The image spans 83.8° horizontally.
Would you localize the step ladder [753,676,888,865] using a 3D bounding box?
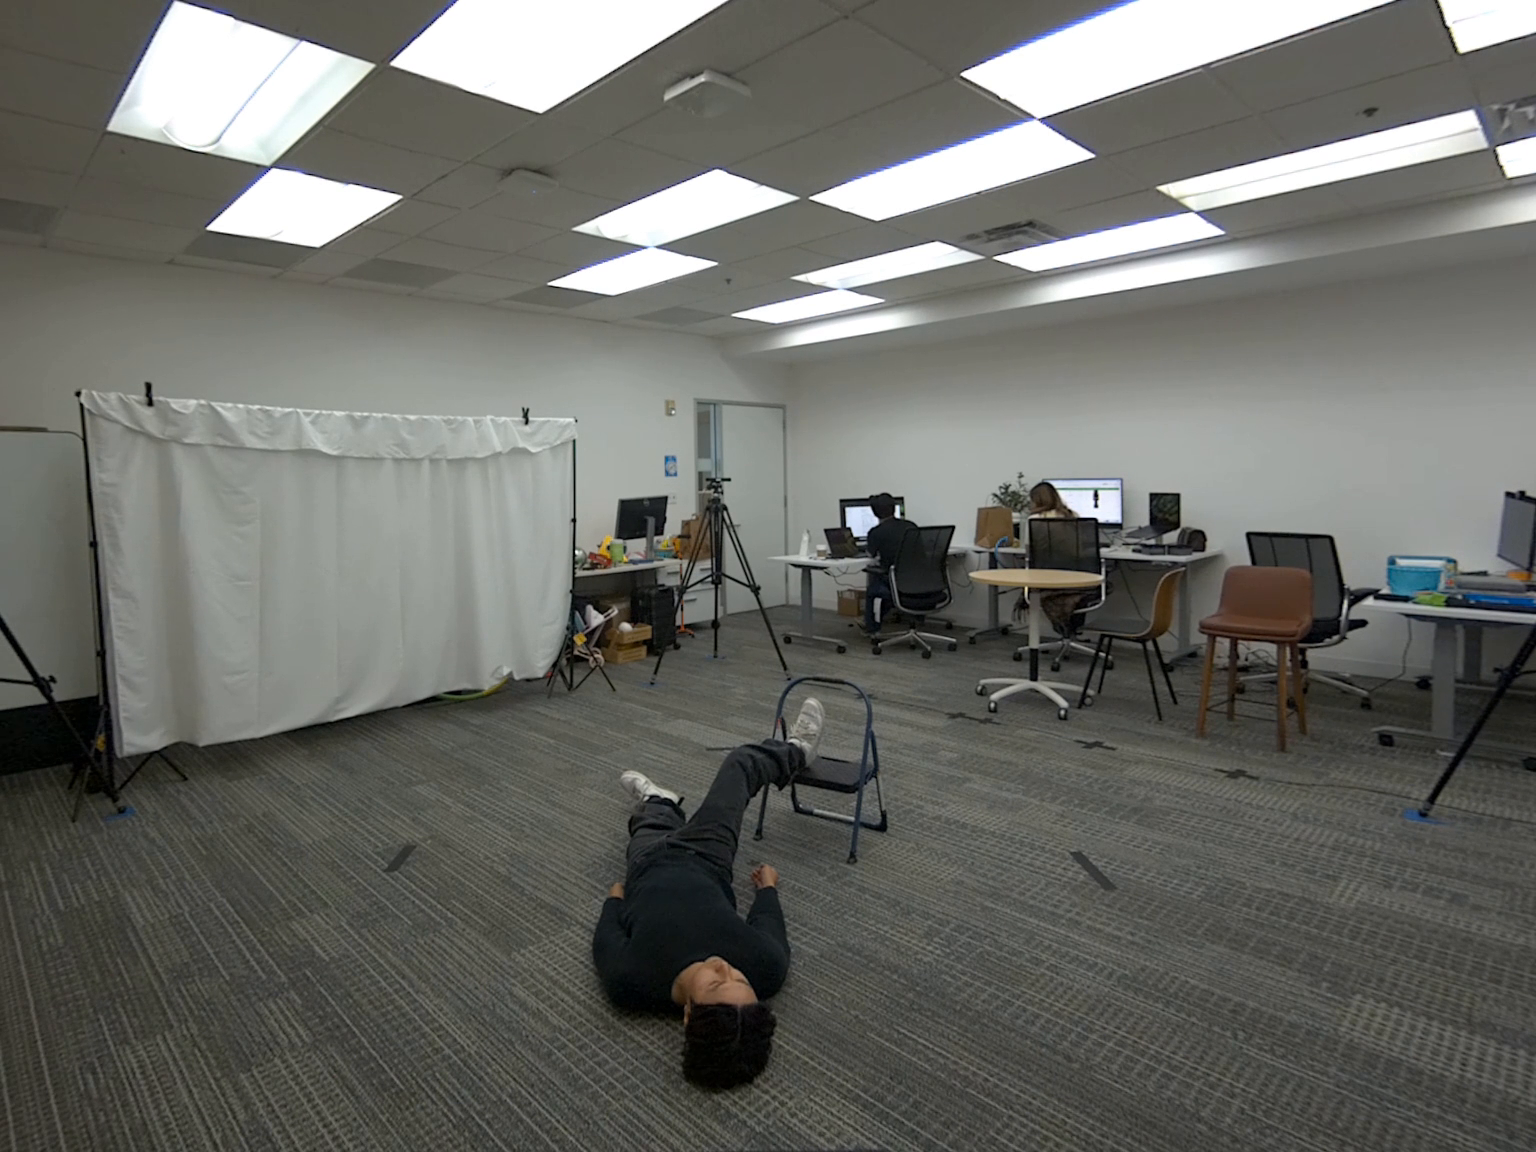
[{"bbox_3d":[0.211,0.712,3.322,0.442,0.604,0.341,2,5,32],"label":"step ladder"}]
